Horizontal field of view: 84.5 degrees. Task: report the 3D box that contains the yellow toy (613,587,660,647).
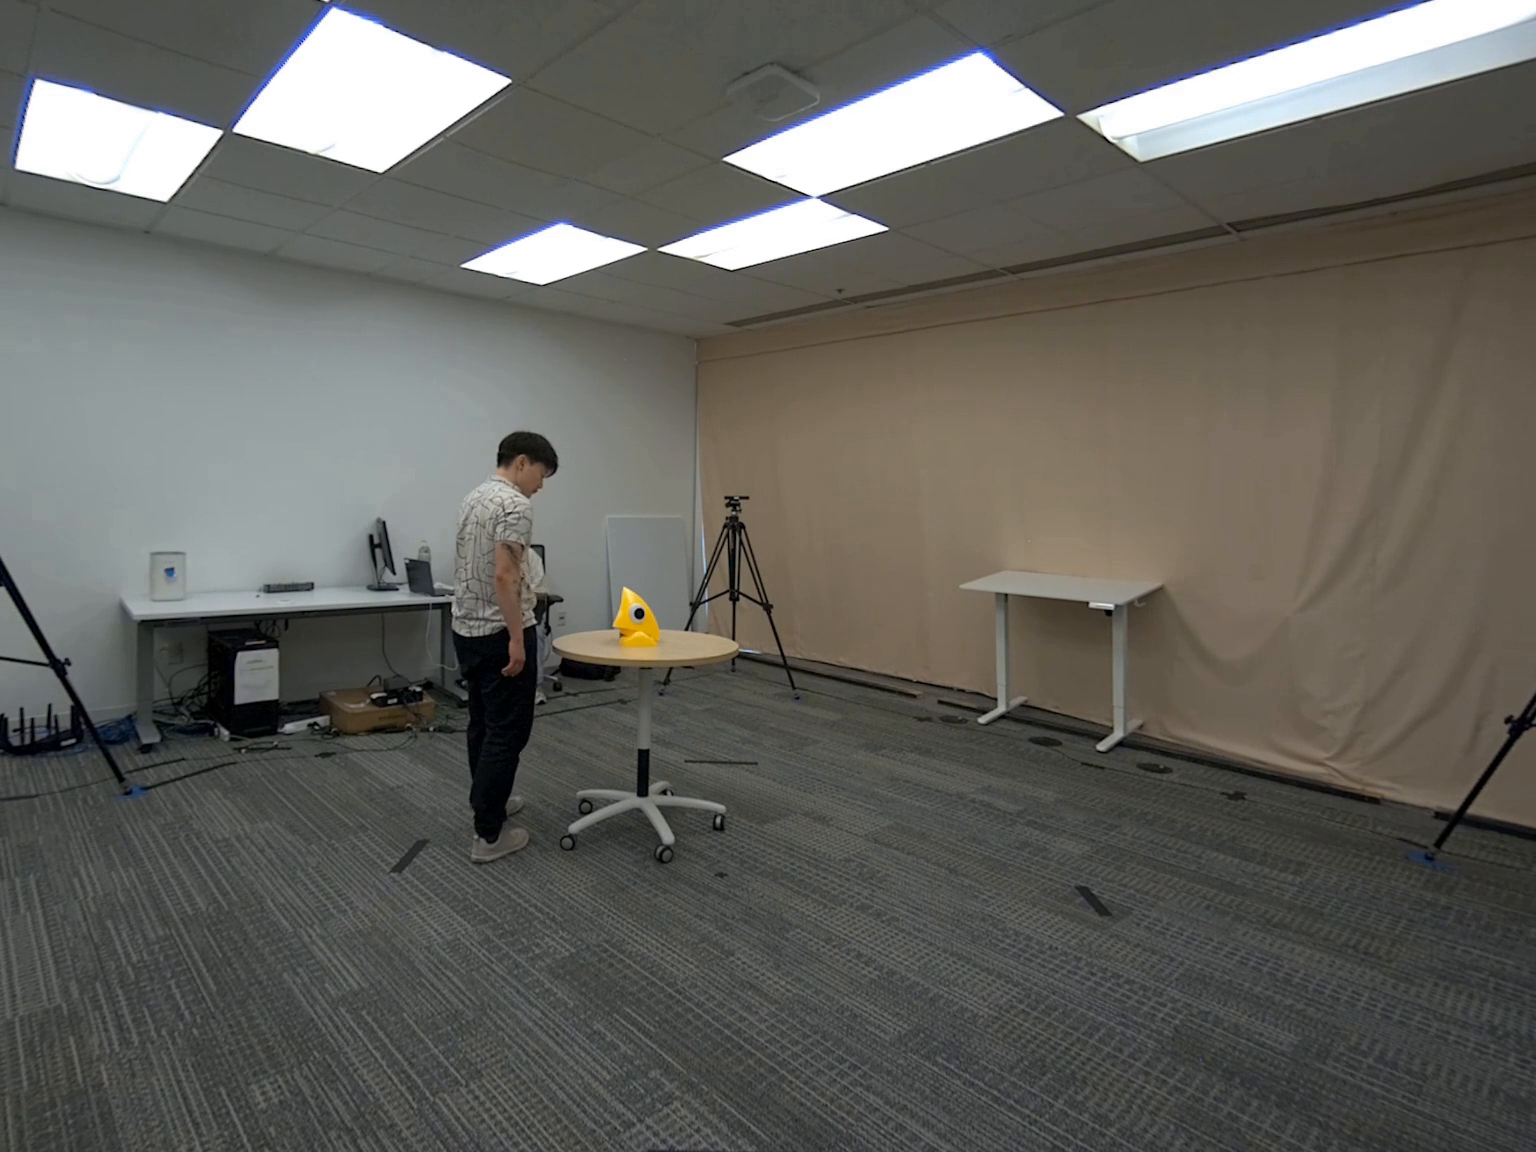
[{"bbox_3d":[-0.554,0.163,3.490,0.192,0.230,0.206,2,3,-4],"label":"yellow toy"}]
